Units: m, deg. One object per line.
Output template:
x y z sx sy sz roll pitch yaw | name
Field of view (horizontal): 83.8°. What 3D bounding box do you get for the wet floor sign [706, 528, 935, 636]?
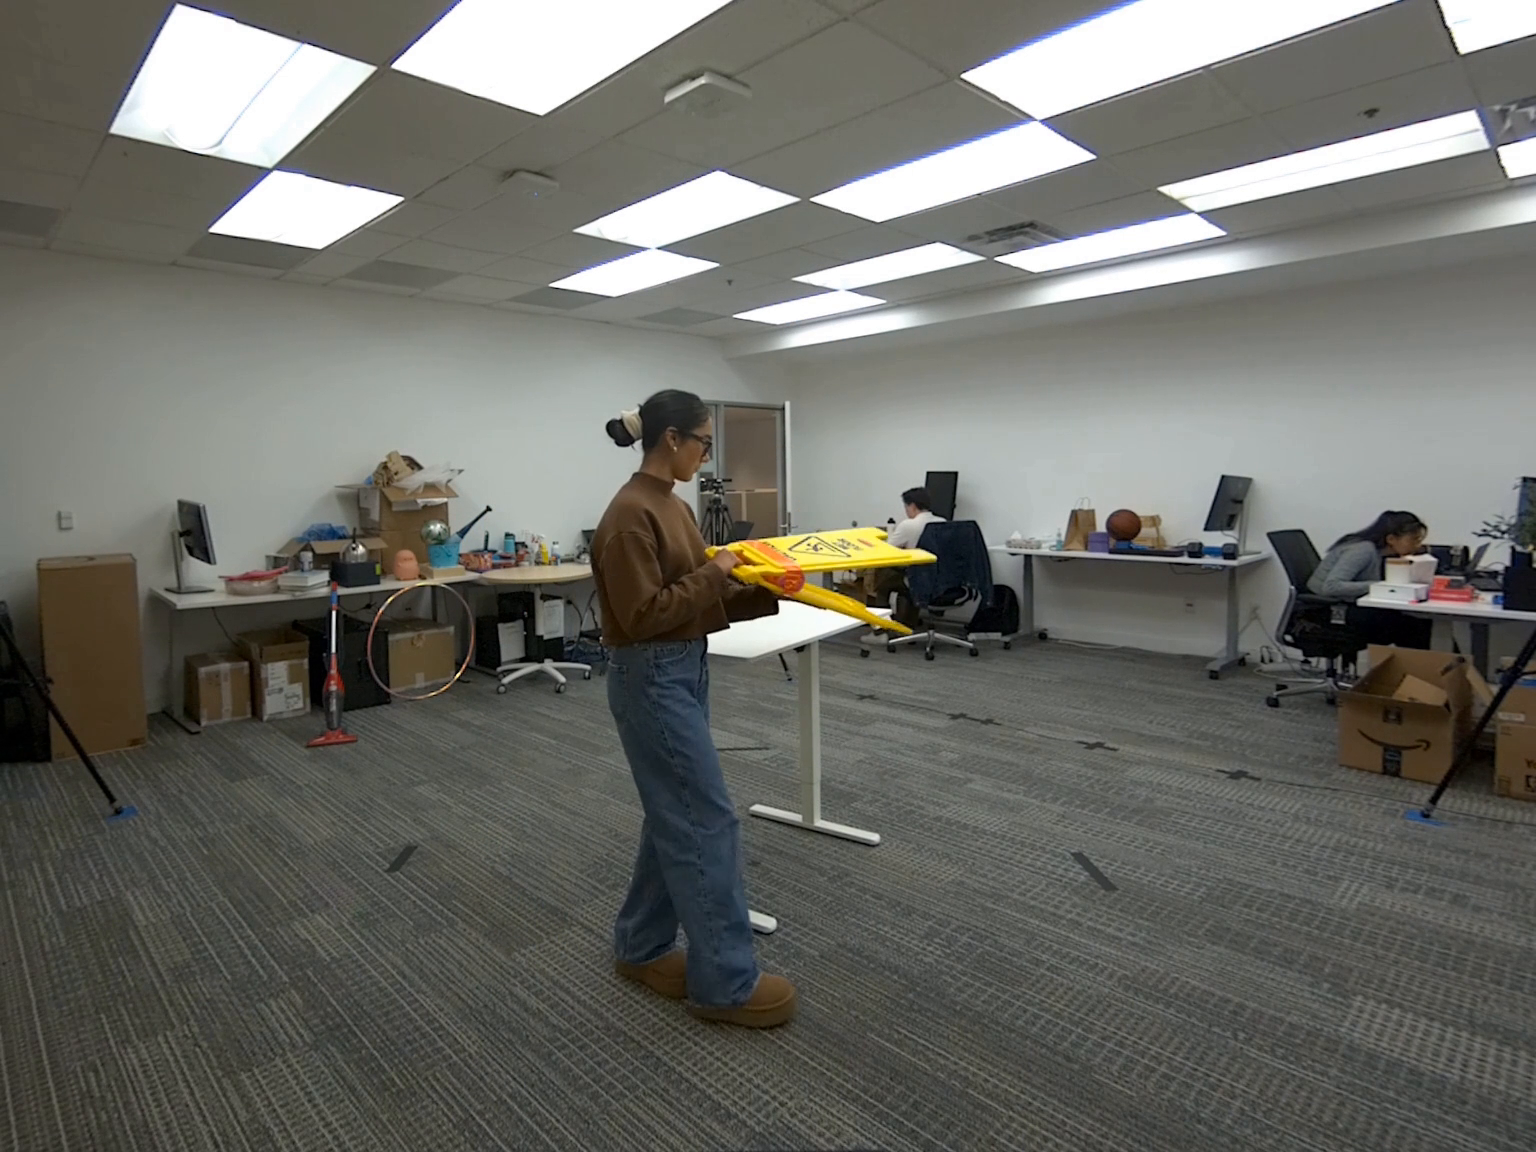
0.137 -0.010 2.418 0.626 0.288 0.293 6 15 -38 | wet floor sign
